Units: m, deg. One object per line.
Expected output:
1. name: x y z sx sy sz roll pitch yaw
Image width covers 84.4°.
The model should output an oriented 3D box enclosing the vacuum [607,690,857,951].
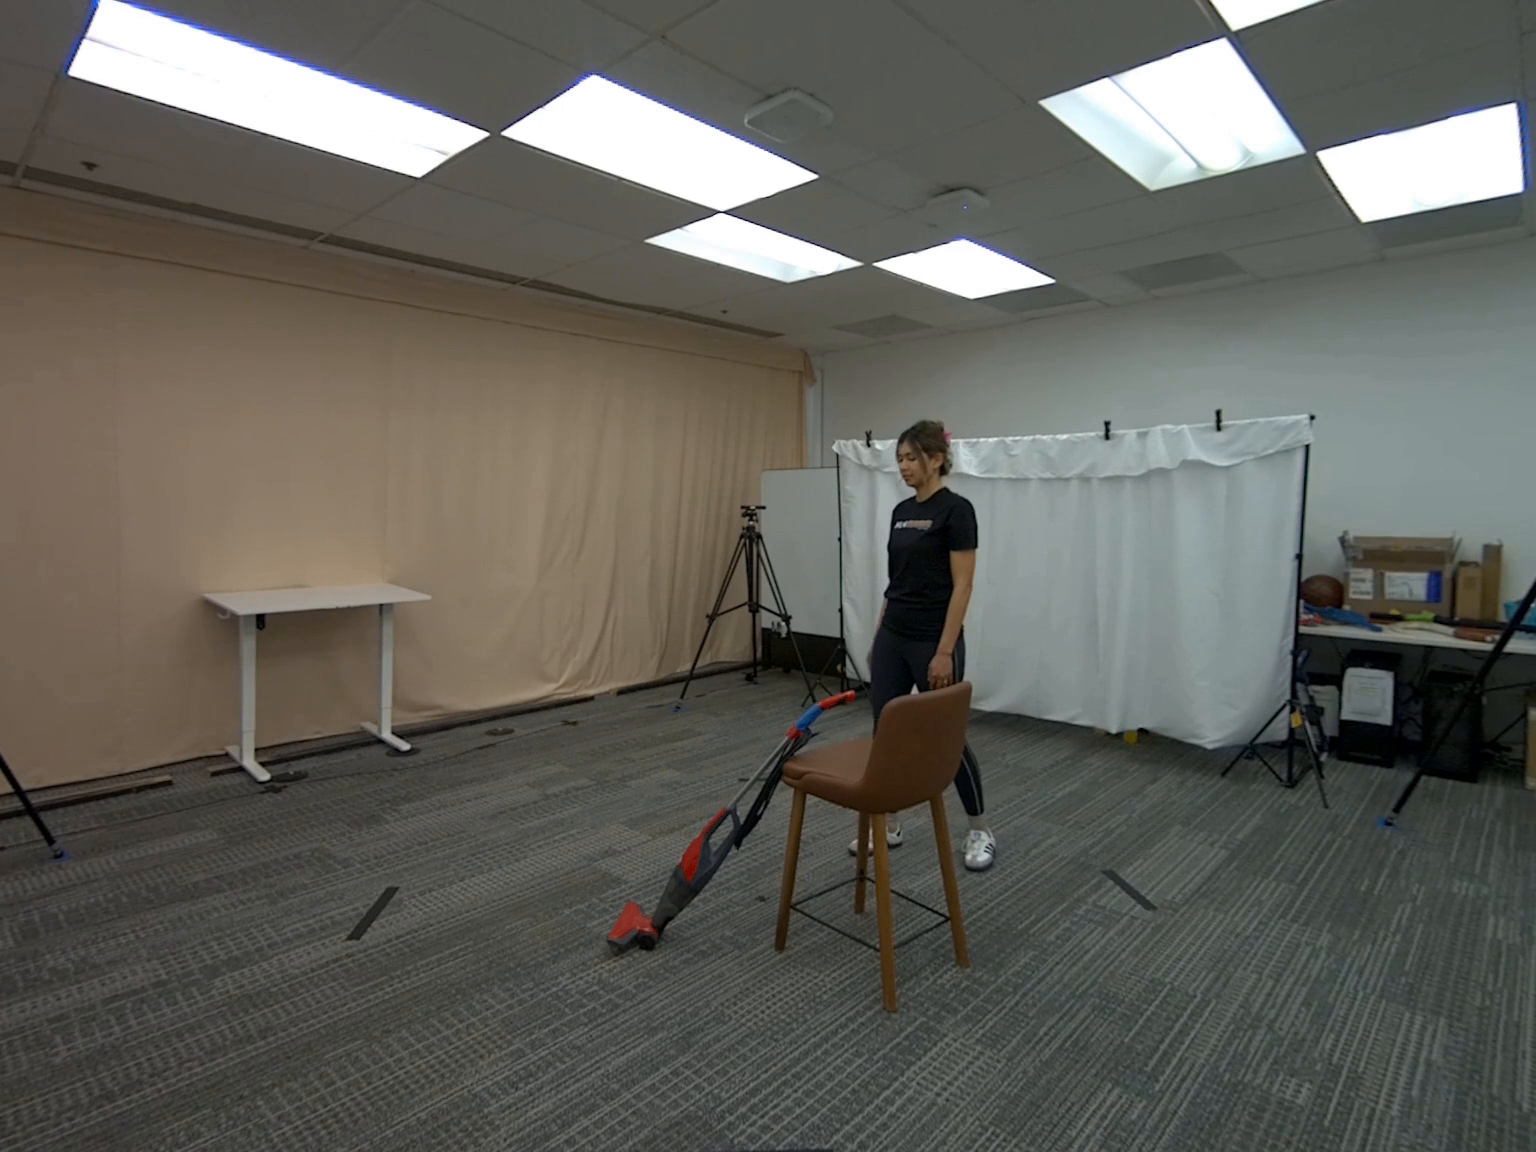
1. vacuum: -0.093 0.761 2.638 0.145 1.051 0.251 41 8 2
